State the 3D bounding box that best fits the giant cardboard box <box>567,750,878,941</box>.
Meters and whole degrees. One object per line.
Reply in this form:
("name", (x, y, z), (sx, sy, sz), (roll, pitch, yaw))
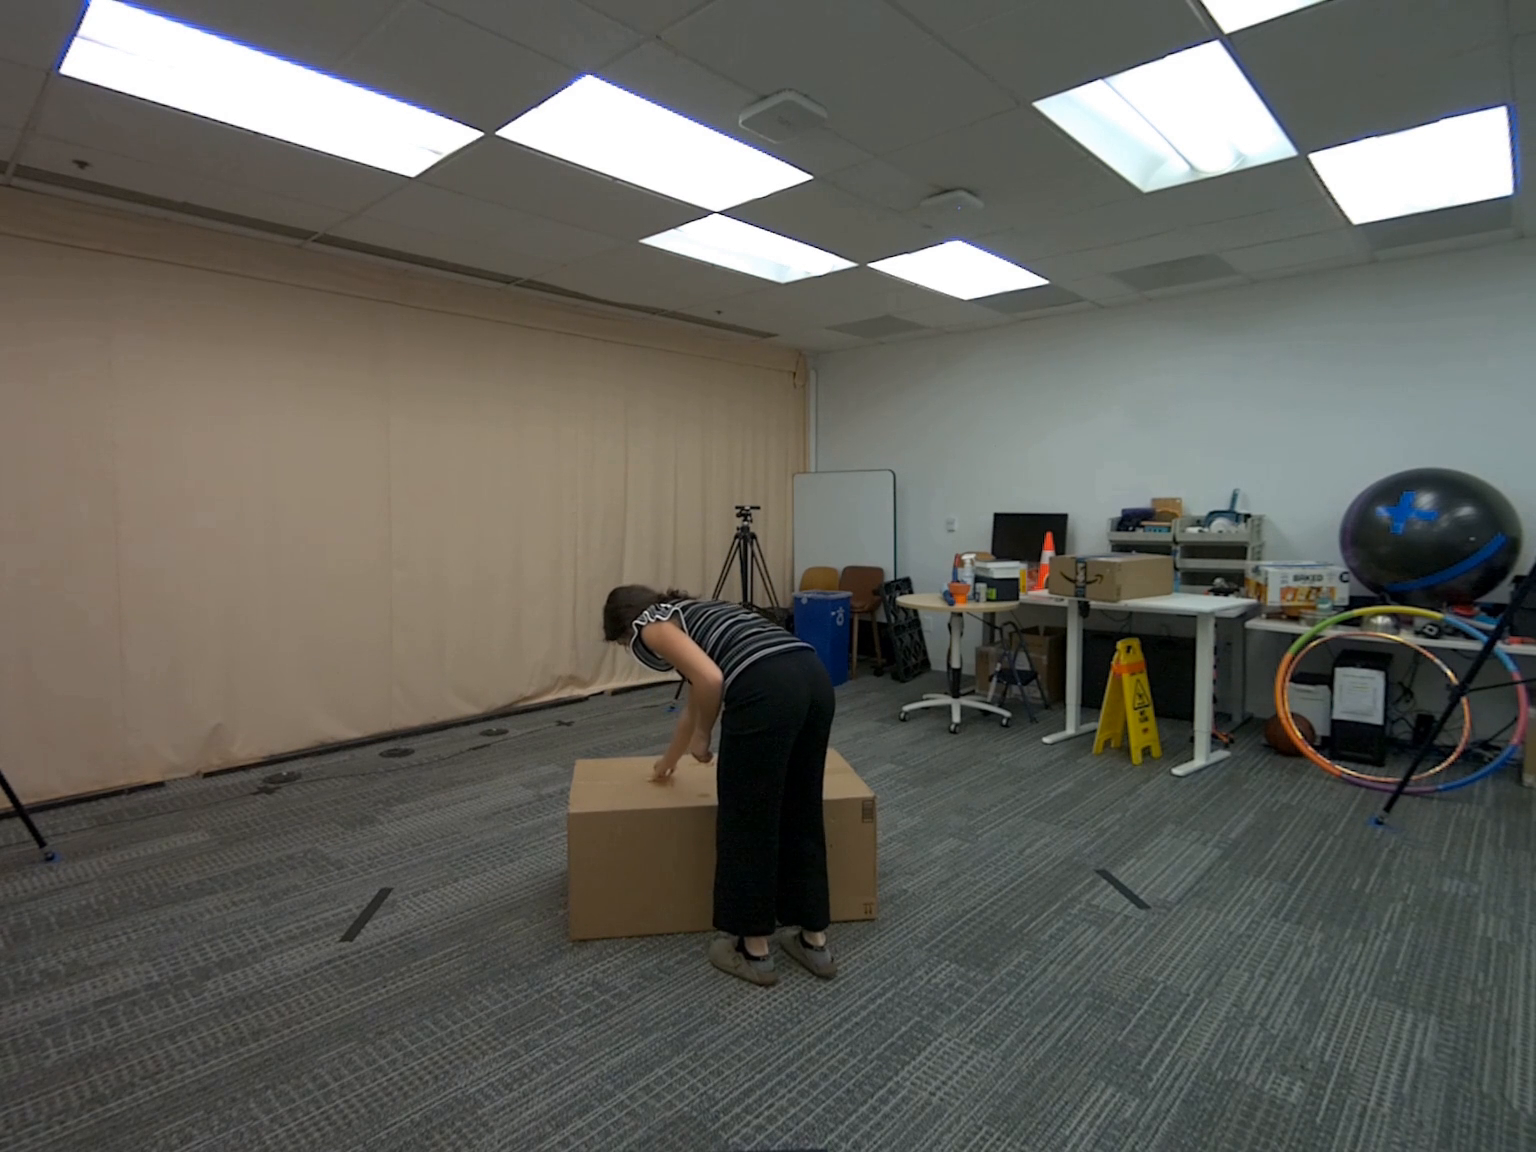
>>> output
("giant cardboard box", (-0.188, 0.930, 3.034), (1.018, 0.425, 0.584), (-1, 4, -8))
